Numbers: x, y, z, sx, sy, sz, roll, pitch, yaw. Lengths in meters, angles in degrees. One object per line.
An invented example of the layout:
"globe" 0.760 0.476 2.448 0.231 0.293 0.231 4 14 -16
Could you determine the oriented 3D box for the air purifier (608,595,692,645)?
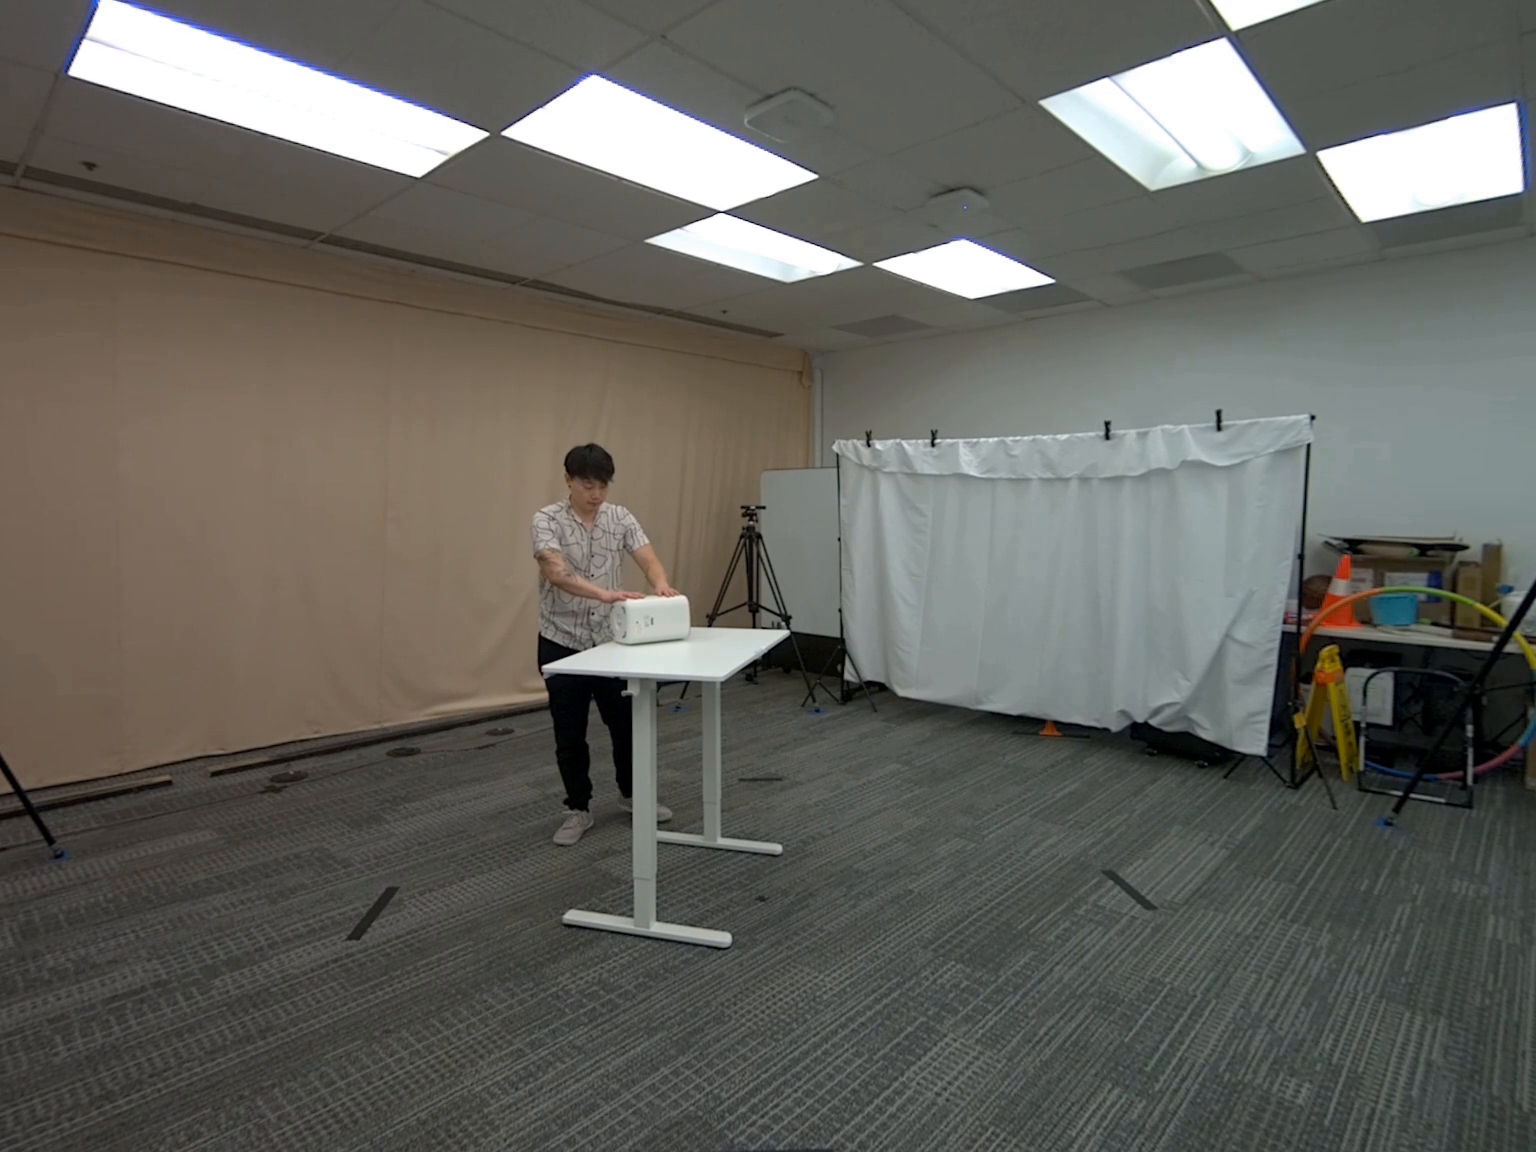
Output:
"air purifier" -0.447 0.162 3.184 0.258 0.171 0.177 -3 2 -35
